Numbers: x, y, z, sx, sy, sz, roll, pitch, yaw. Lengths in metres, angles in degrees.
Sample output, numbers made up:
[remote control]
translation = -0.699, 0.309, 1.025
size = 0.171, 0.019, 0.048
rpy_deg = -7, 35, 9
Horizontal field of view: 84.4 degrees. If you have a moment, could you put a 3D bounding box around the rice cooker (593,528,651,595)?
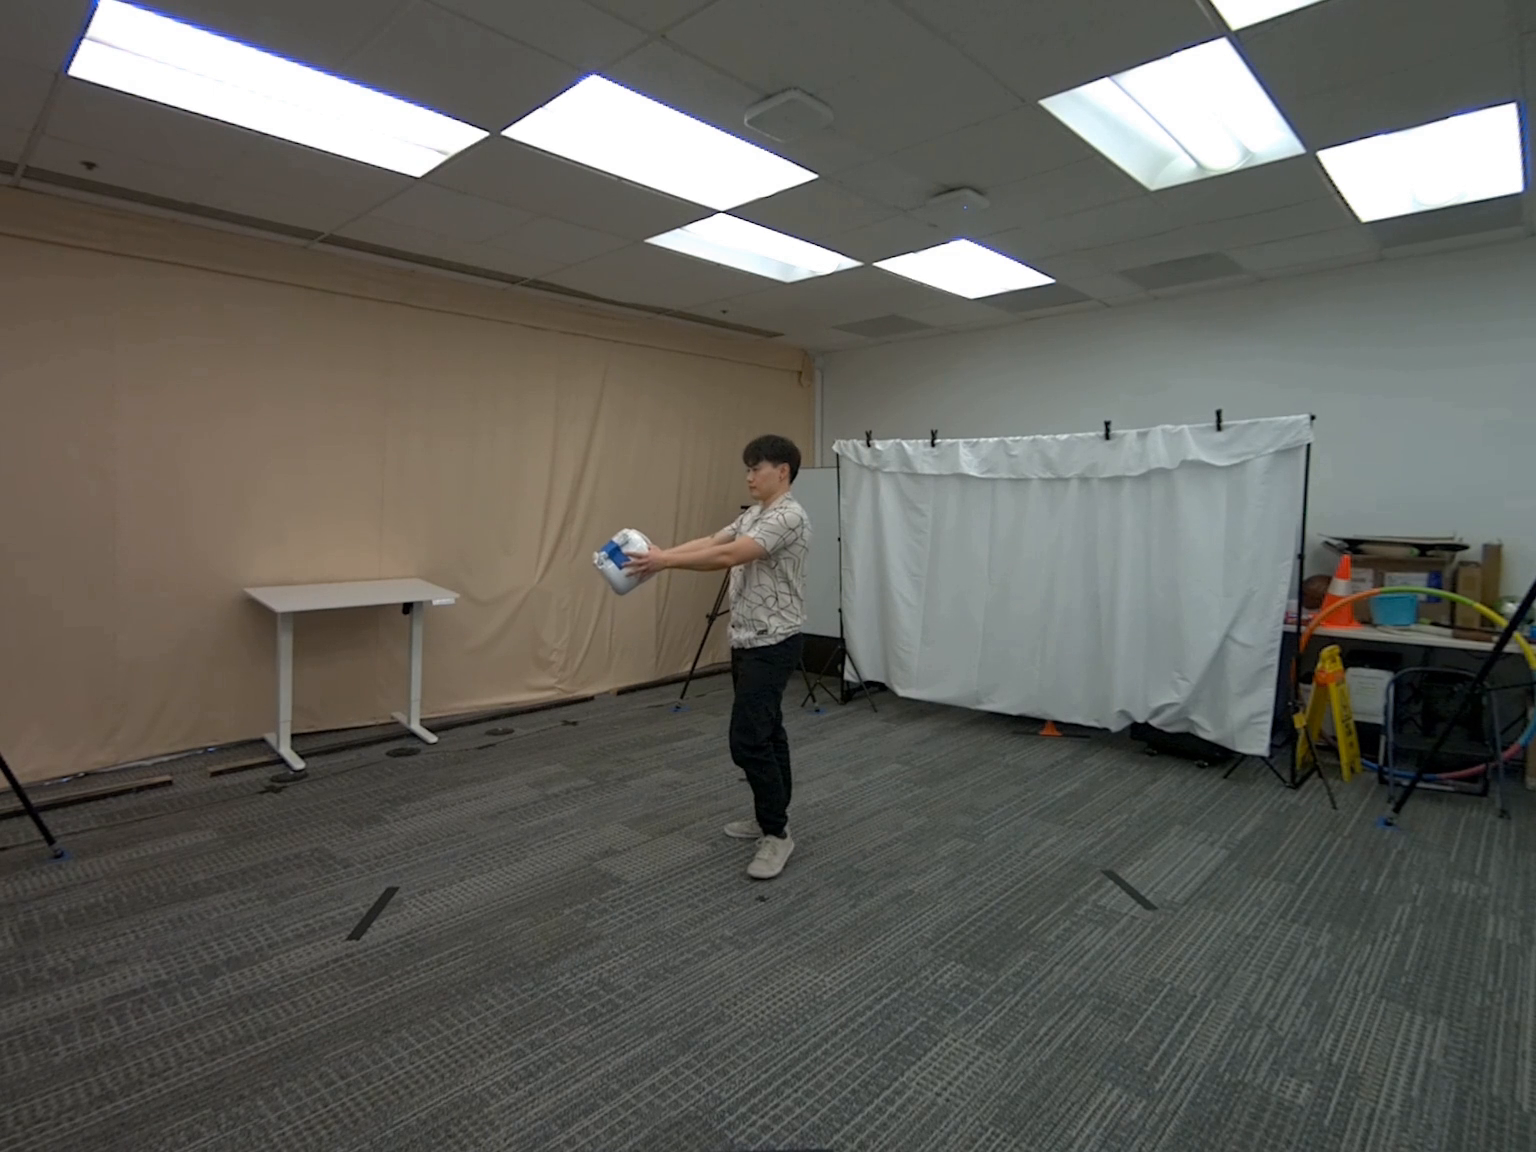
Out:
[rice cooker]
translation = -0.547, -0.063, 3.309
size = 0.232, 0.218, 0.221
rpy_deg = -34, 13, -9
